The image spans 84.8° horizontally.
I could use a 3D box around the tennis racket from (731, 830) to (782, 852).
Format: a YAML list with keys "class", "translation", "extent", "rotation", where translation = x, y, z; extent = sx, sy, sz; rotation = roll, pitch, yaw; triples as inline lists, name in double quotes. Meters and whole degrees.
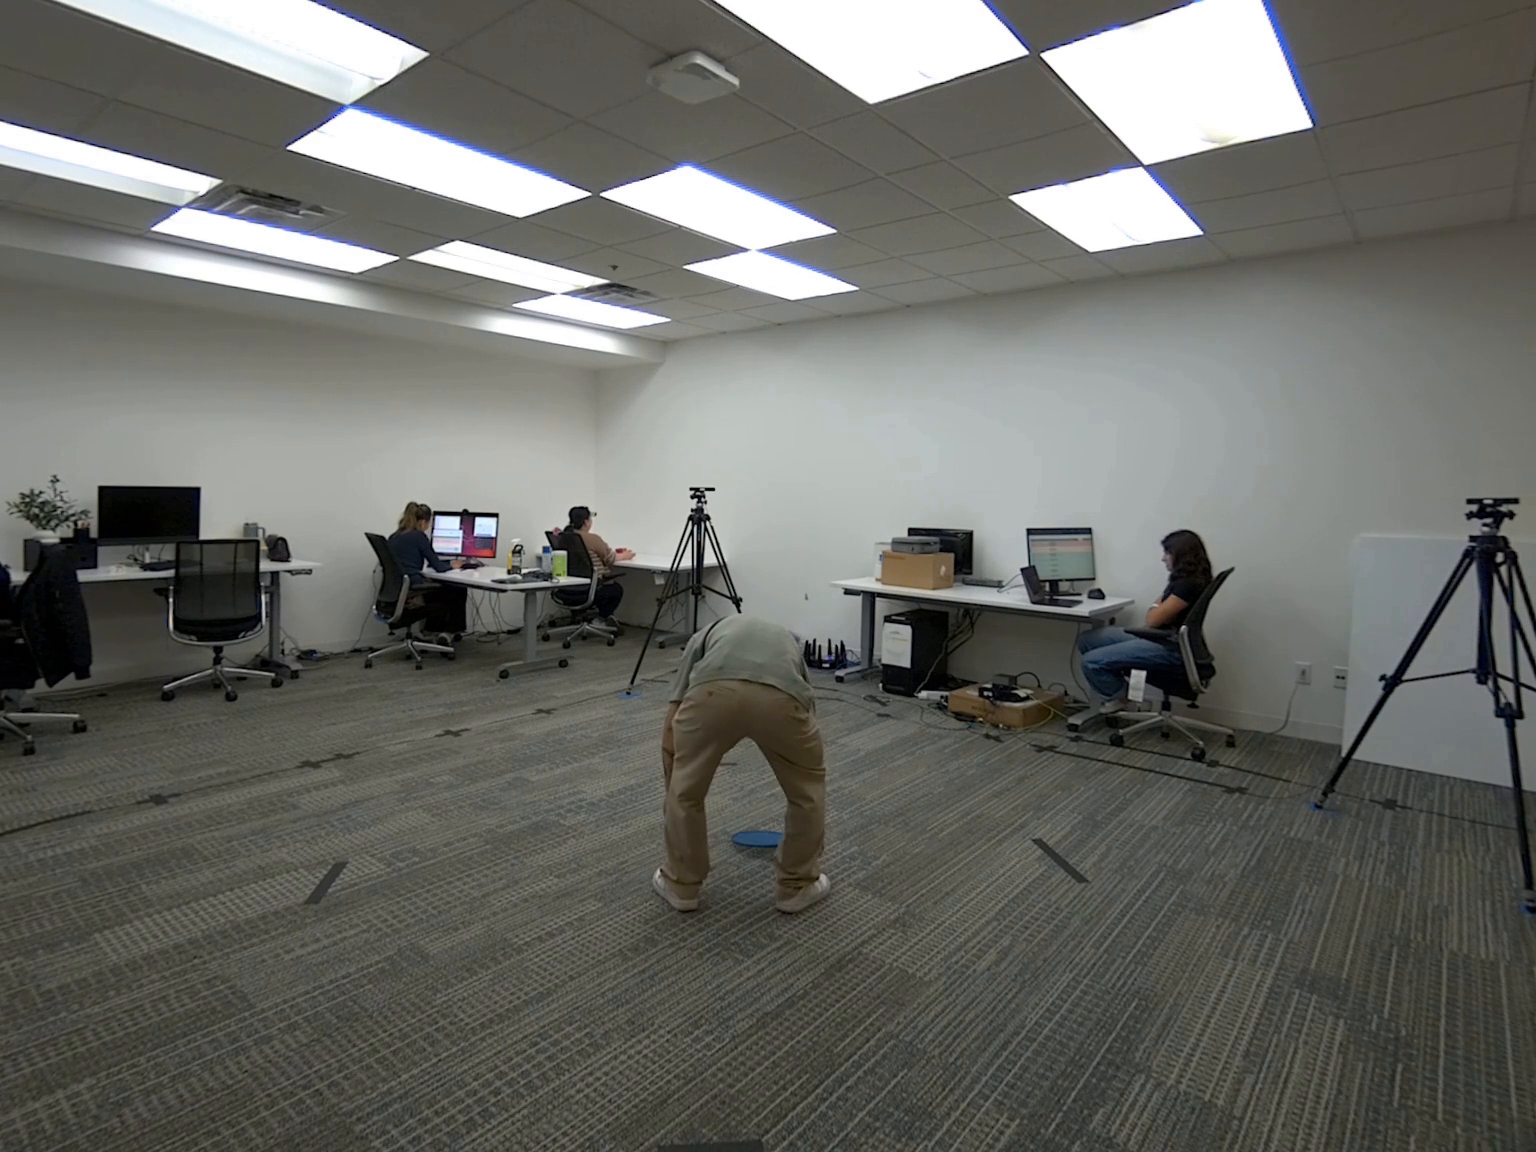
- class: "tennis racket"
  translation: [0.008, 1.013, 3.258]
  extent: [0.207, 0.032, 0.444]
  rotation: [-2, -3, -38]
